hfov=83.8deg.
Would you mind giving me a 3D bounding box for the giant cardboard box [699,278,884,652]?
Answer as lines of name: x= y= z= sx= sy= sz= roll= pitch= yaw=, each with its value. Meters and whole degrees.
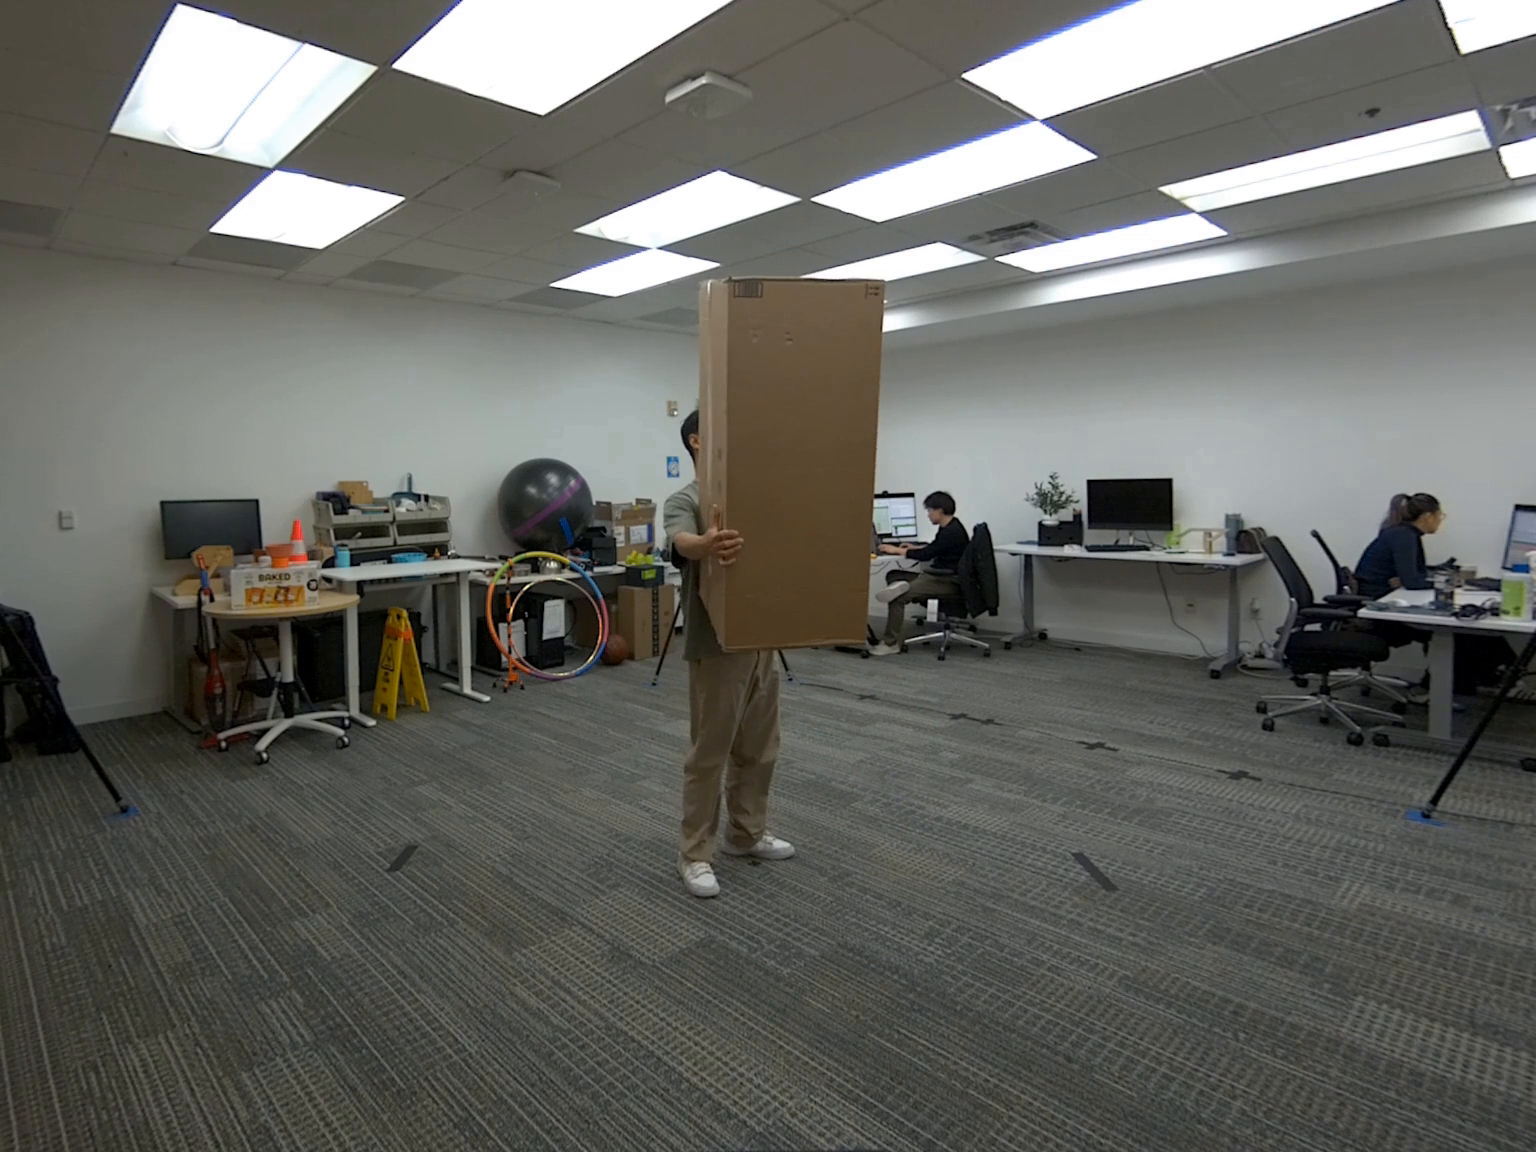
giant cardboard box: x=0.036 y=-0.364 z=2.589 sx=0.422 sy=1.012 sz=0.591 roll=-1 pitch=16 yaw=-11
